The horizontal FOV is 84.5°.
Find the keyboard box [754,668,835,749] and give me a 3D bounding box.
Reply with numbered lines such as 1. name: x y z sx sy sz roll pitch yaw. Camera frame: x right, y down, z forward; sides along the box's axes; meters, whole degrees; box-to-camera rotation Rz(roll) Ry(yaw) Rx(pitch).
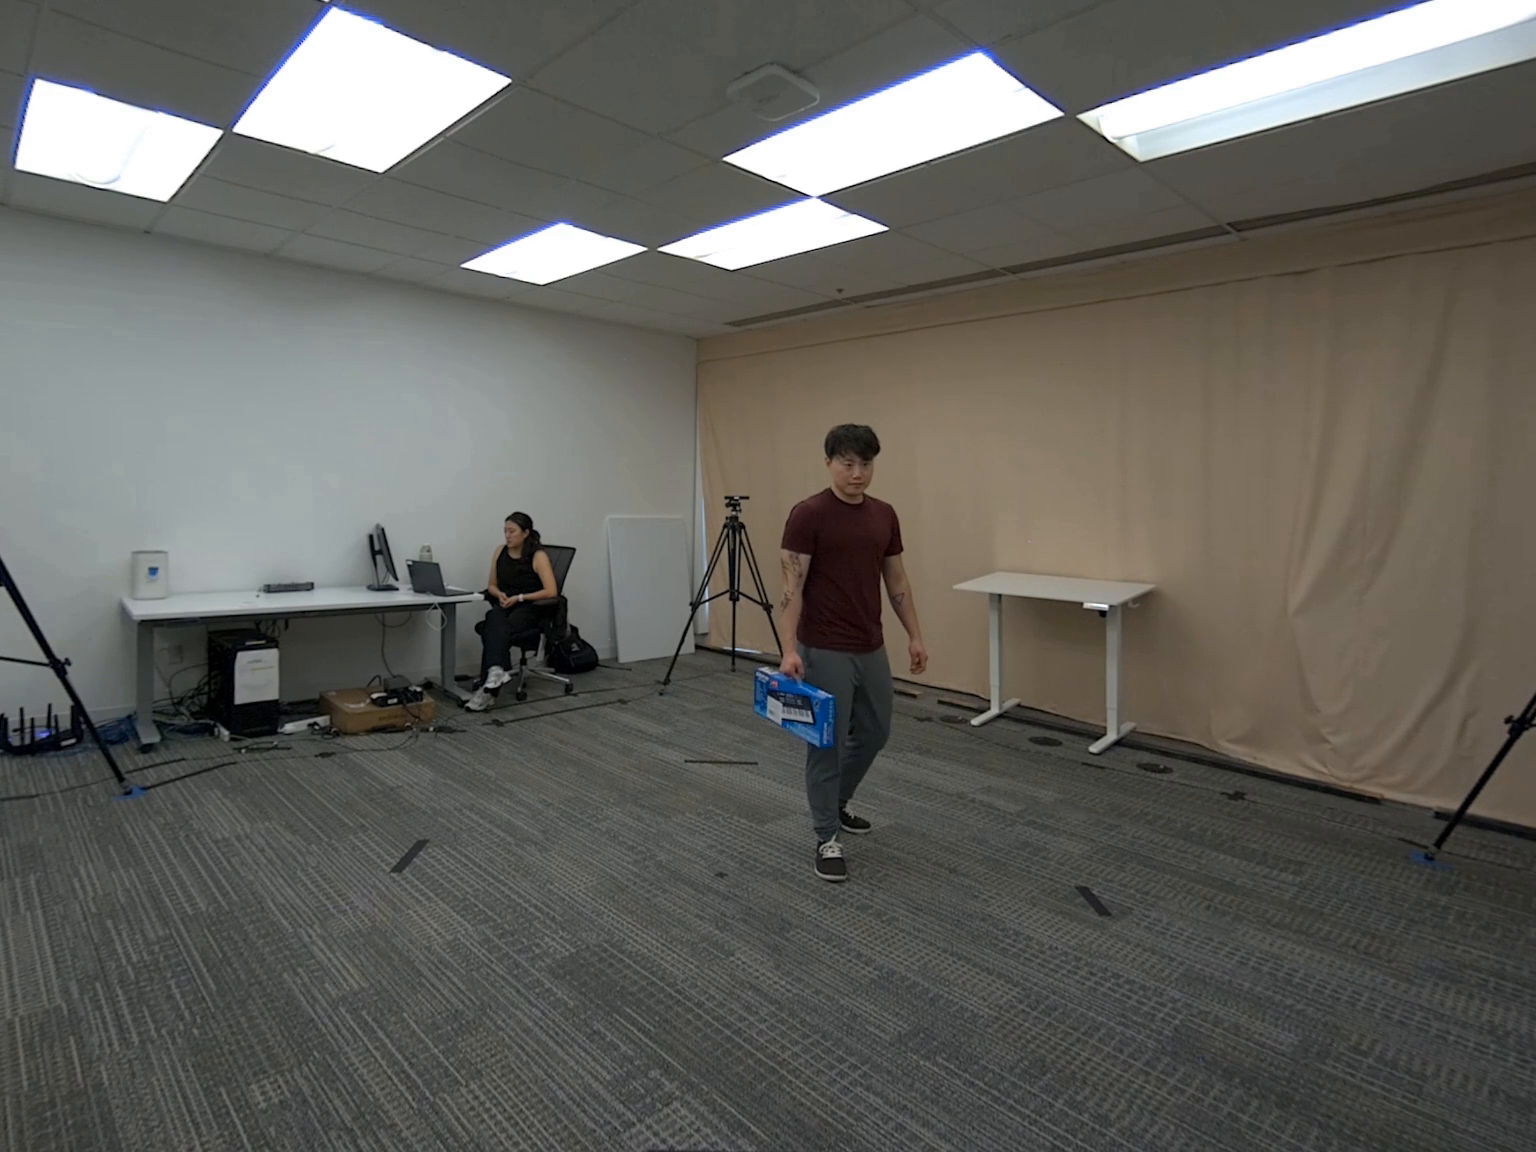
1. keyboard box: 0.081 0.466 3.040 0.058 0.175 0.448 -2 8 -31
